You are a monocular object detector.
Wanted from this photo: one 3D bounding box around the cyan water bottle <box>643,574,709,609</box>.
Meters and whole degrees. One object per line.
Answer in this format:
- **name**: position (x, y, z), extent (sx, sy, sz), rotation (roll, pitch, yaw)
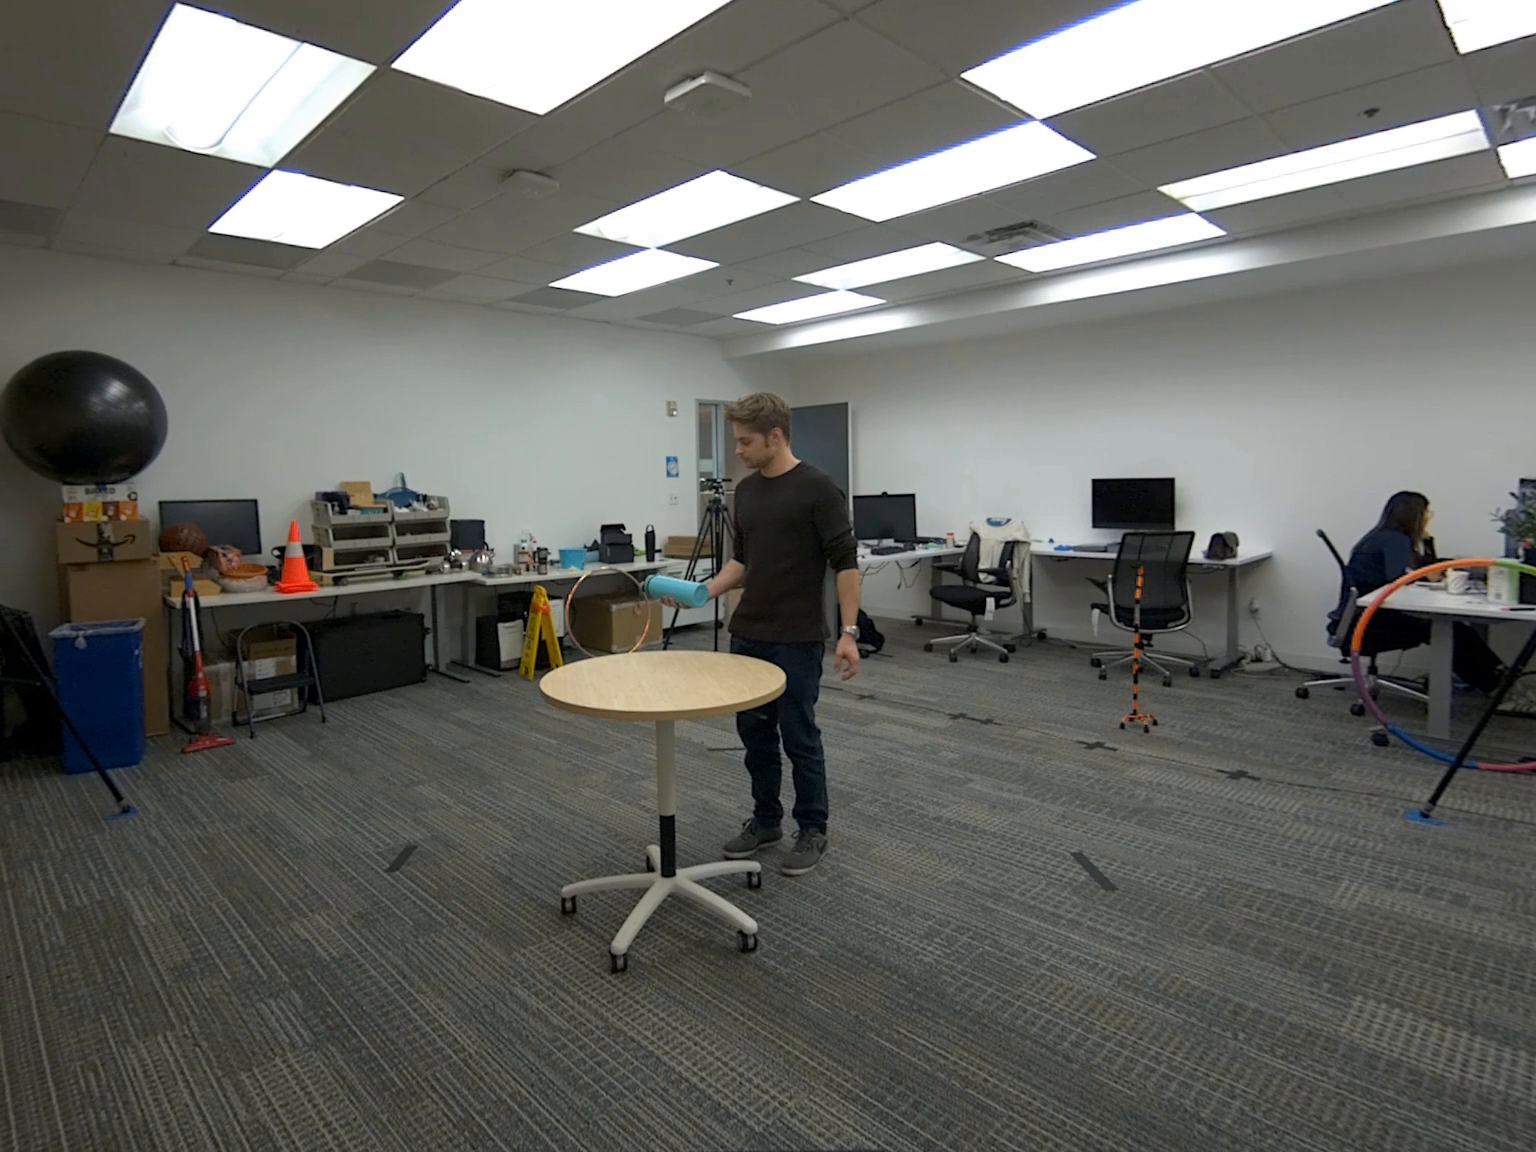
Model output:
- **cyan water bottle**: position (-0.348, 0.049, 3.144), extent (0.292, 0.092, 0.090), rotation (10, 10, 37)
